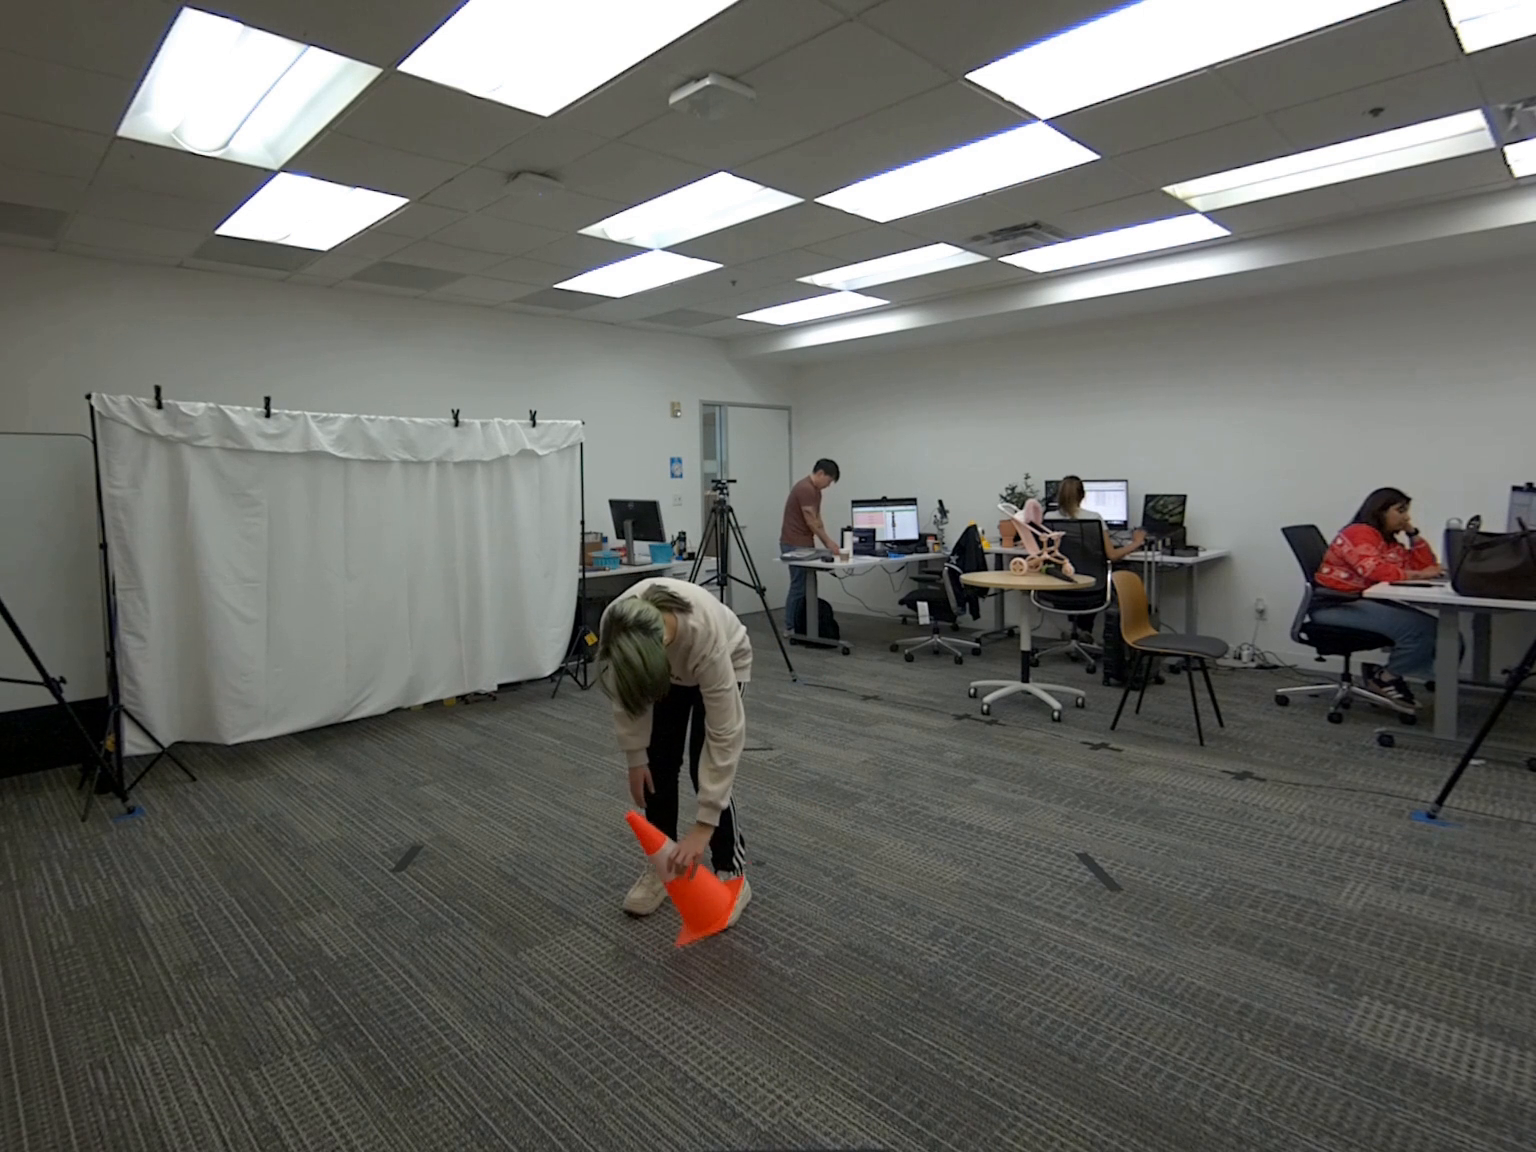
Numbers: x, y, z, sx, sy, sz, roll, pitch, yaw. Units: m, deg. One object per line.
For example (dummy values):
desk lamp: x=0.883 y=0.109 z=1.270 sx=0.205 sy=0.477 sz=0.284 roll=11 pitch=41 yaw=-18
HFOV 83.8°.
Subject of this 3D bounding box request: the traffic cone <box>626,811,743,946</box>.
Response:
traffic cone: x=-0.258 y=0.809 z=2.421 sx=0.205 sy=0.378 sz=0.206 roll=-32 pitch=12 yaw=21
